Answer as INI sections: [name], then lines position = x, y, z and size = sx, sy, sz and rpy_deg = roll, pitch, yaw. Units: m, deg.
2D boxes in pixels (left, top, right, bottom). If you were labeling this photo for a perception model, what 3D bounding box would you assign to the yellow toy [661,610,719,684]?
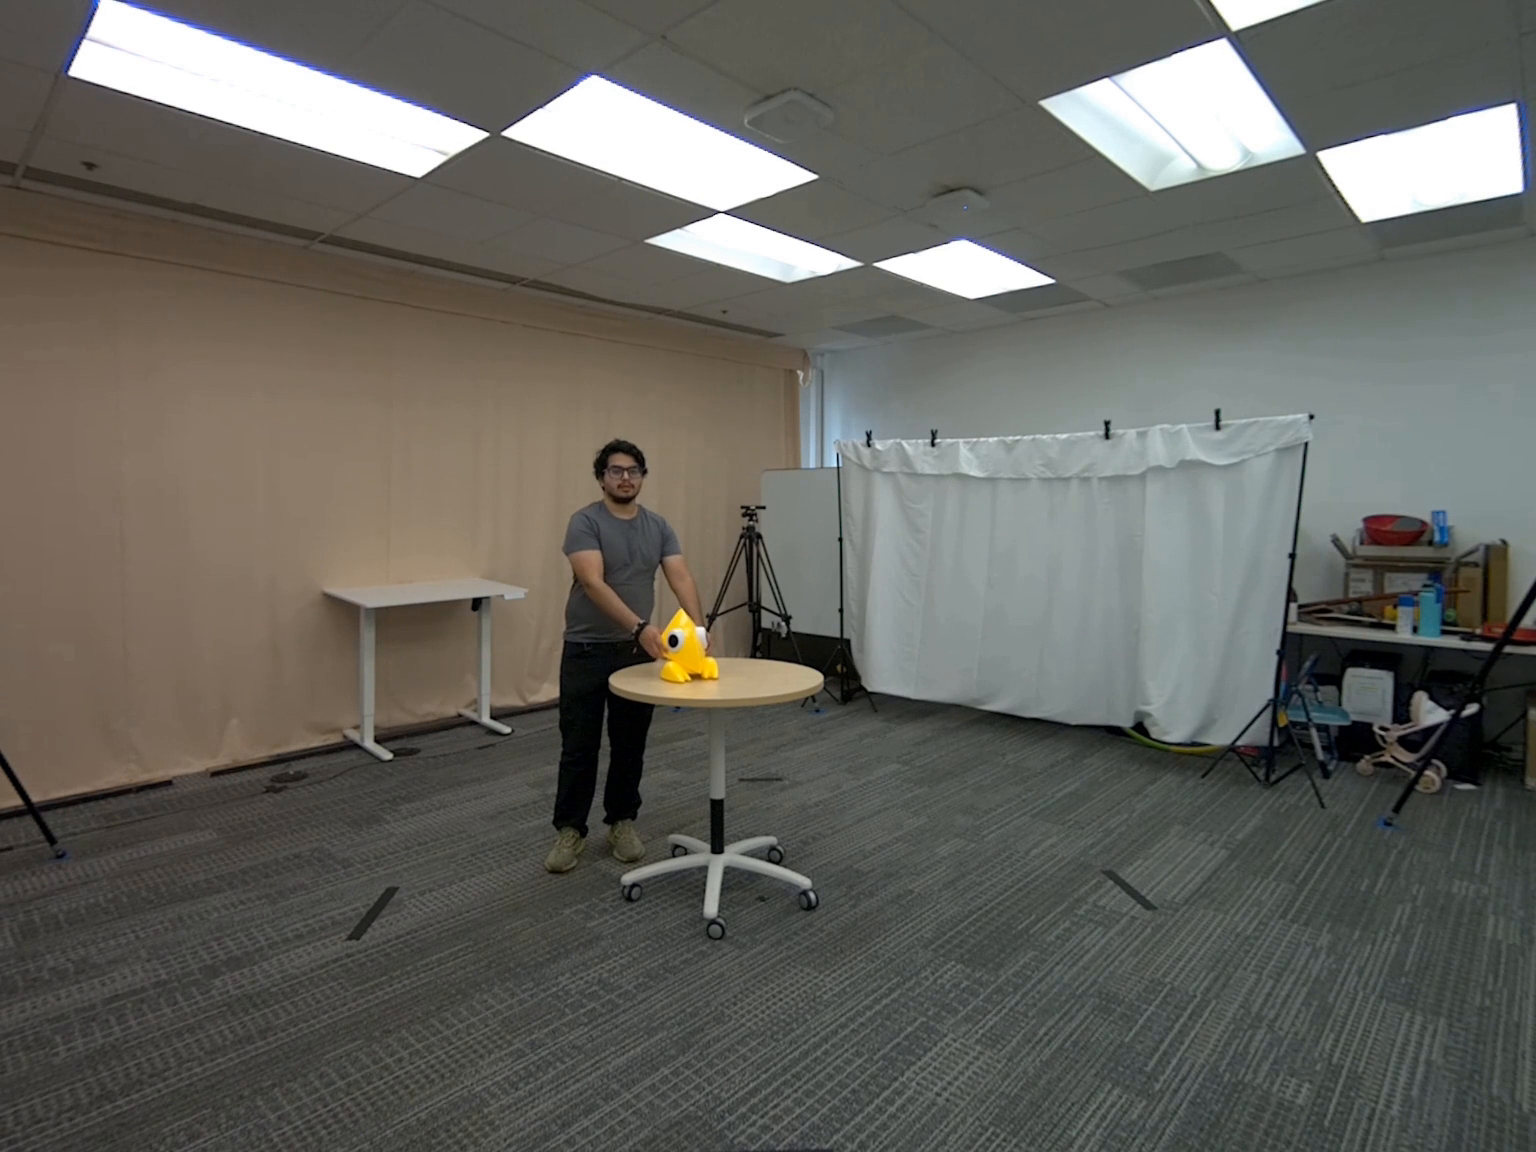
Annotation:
[yellow toy]
position = -0.281, 0.238, 2.979
size = 0.200, 0.230, 0.198
rpy_deg = -3, 6, -27
